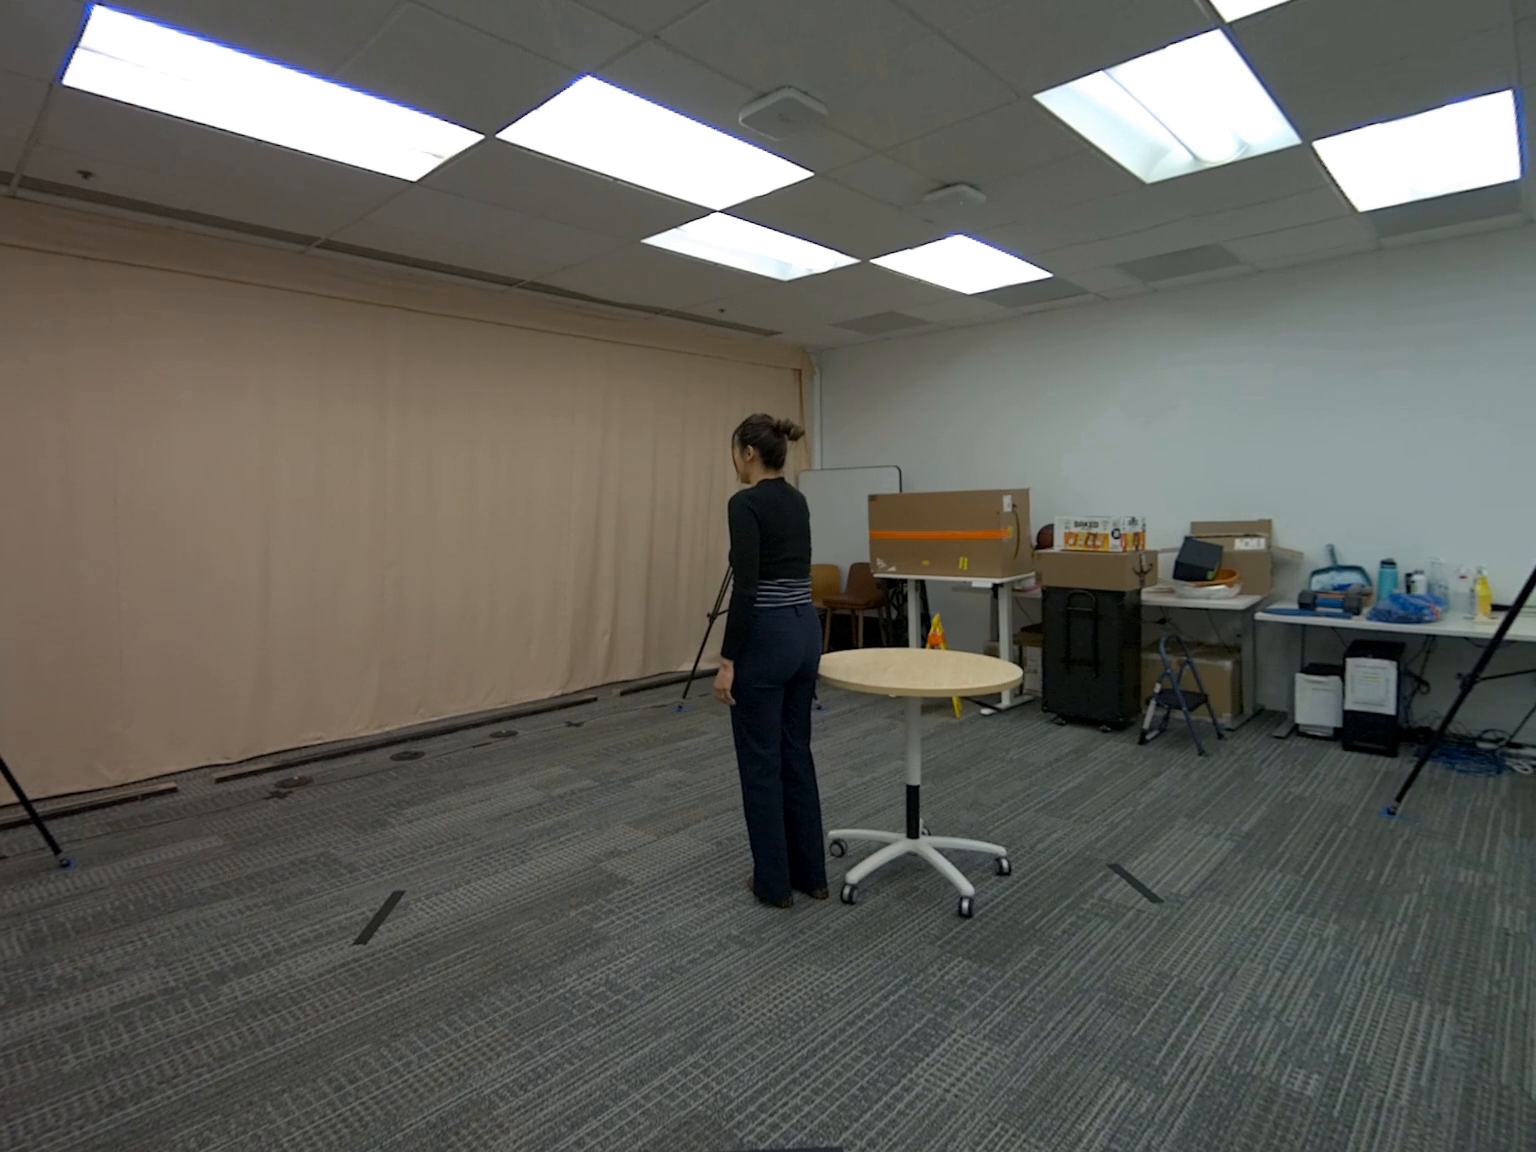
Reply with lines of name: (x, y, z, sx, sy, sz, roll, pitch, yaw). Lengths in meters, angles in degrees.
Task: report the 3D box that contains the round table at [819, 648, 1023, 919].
round table: (0.543, 0.729, 3.129, 0.763, 0.792, 0.767, 0, 4, -2)
